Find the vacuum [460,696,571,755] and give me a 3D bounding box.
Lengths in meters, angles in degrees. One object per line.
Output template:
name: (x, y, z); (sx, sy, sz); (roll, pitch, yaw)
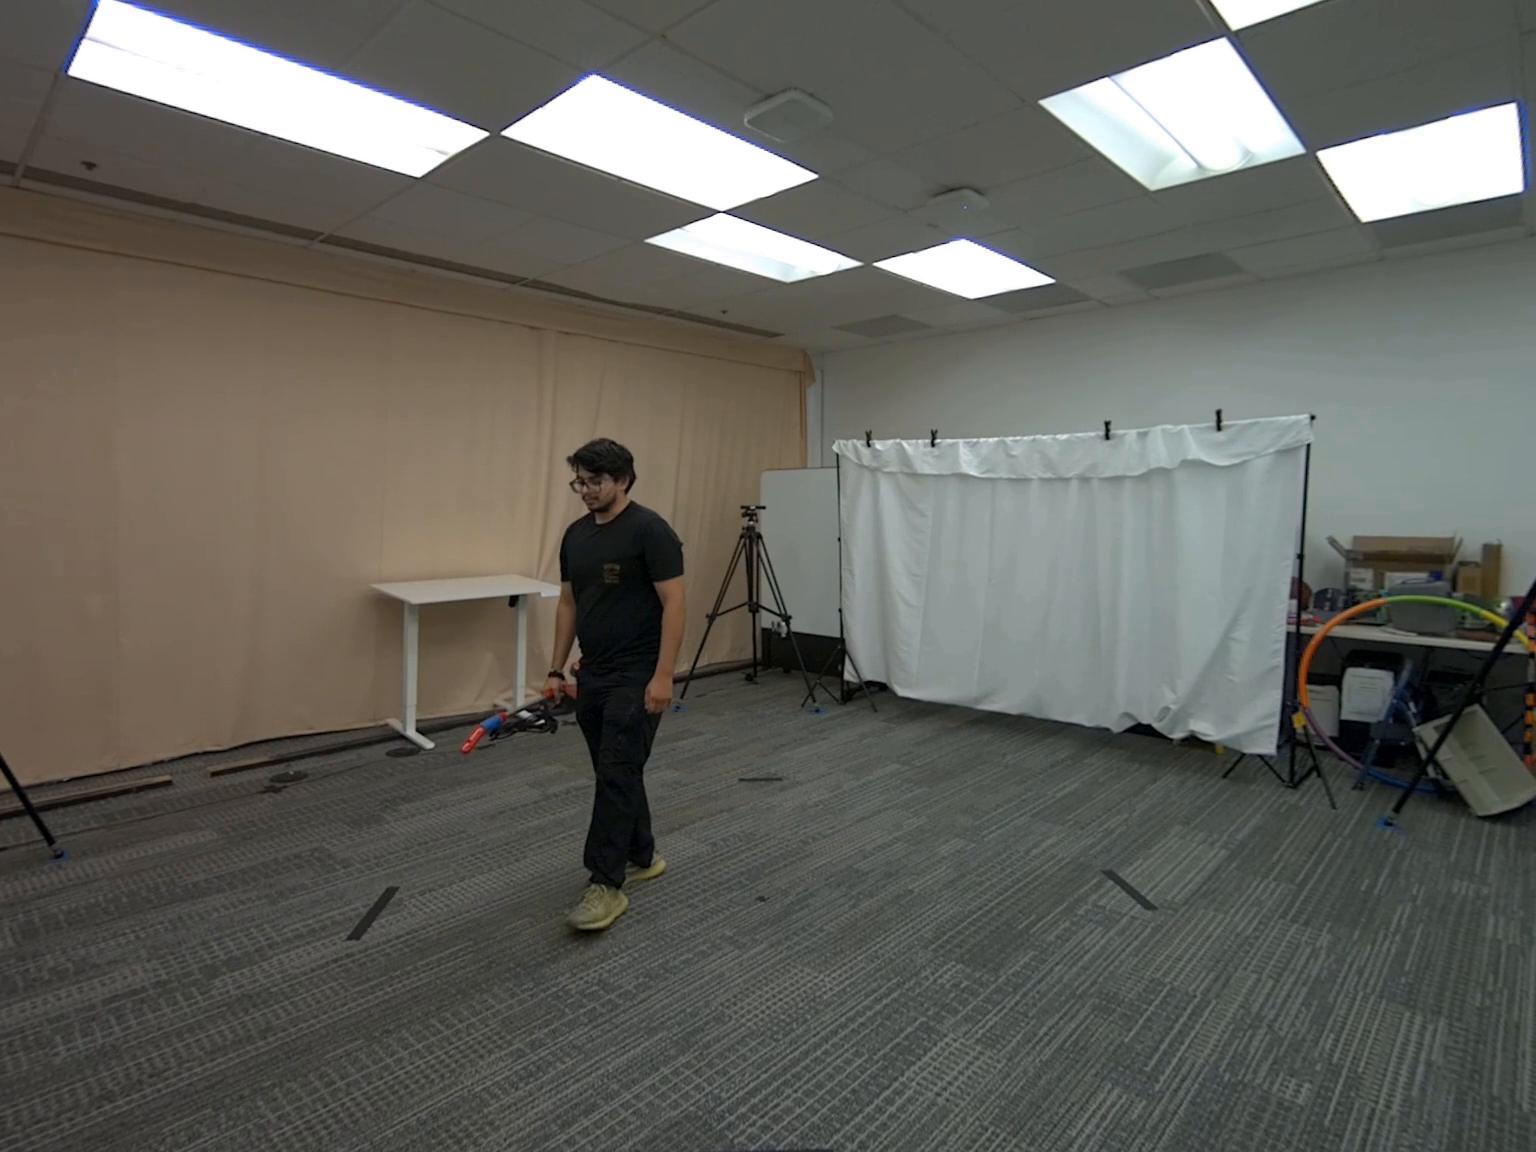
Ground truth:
vacuum: (-0.806, 0.490, 3.010); (0.255, 0.143, 1.039); (3, 5, 9)
